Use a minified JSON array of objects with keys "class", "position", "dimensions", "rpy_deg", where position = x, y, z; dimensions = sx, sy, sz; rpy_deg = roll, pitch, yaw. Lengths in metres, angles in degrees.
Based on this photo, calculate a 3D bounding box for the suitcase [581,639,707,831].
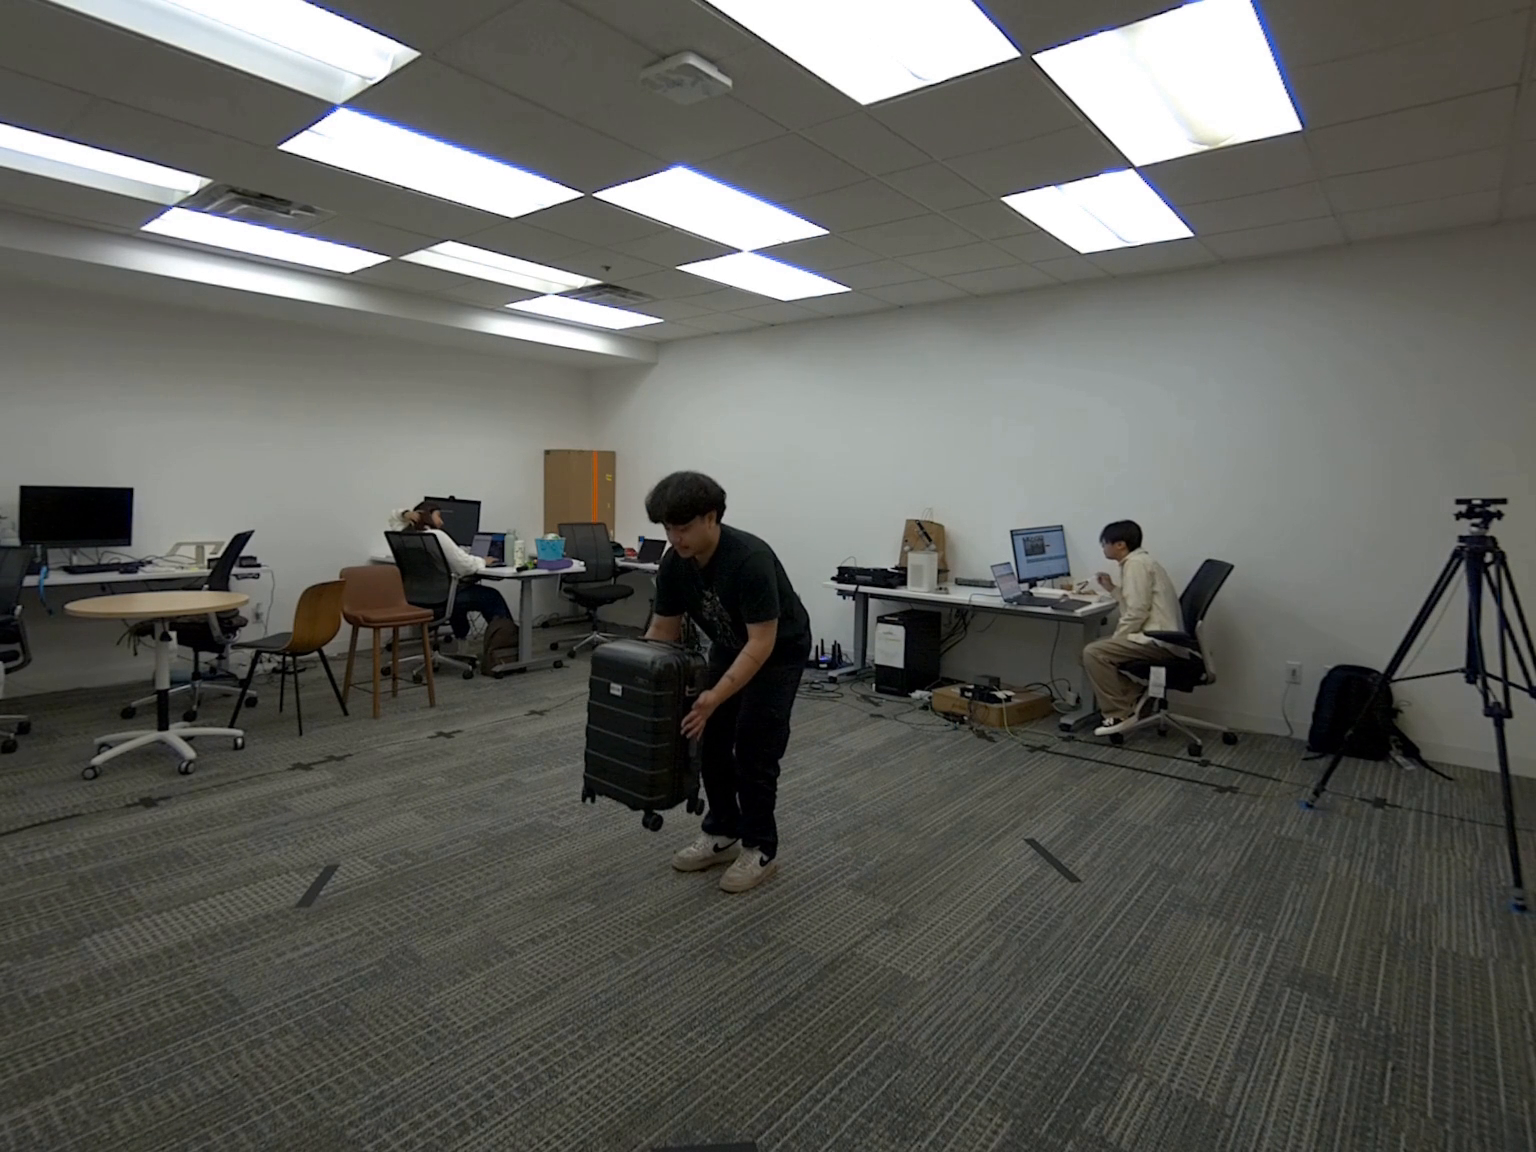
[{"class":"suitcase","position":[-0.412,0.494,2.759],"dimensions":[0.388,0.548,0.241],"rpy_deg":[6,4,40]}]
